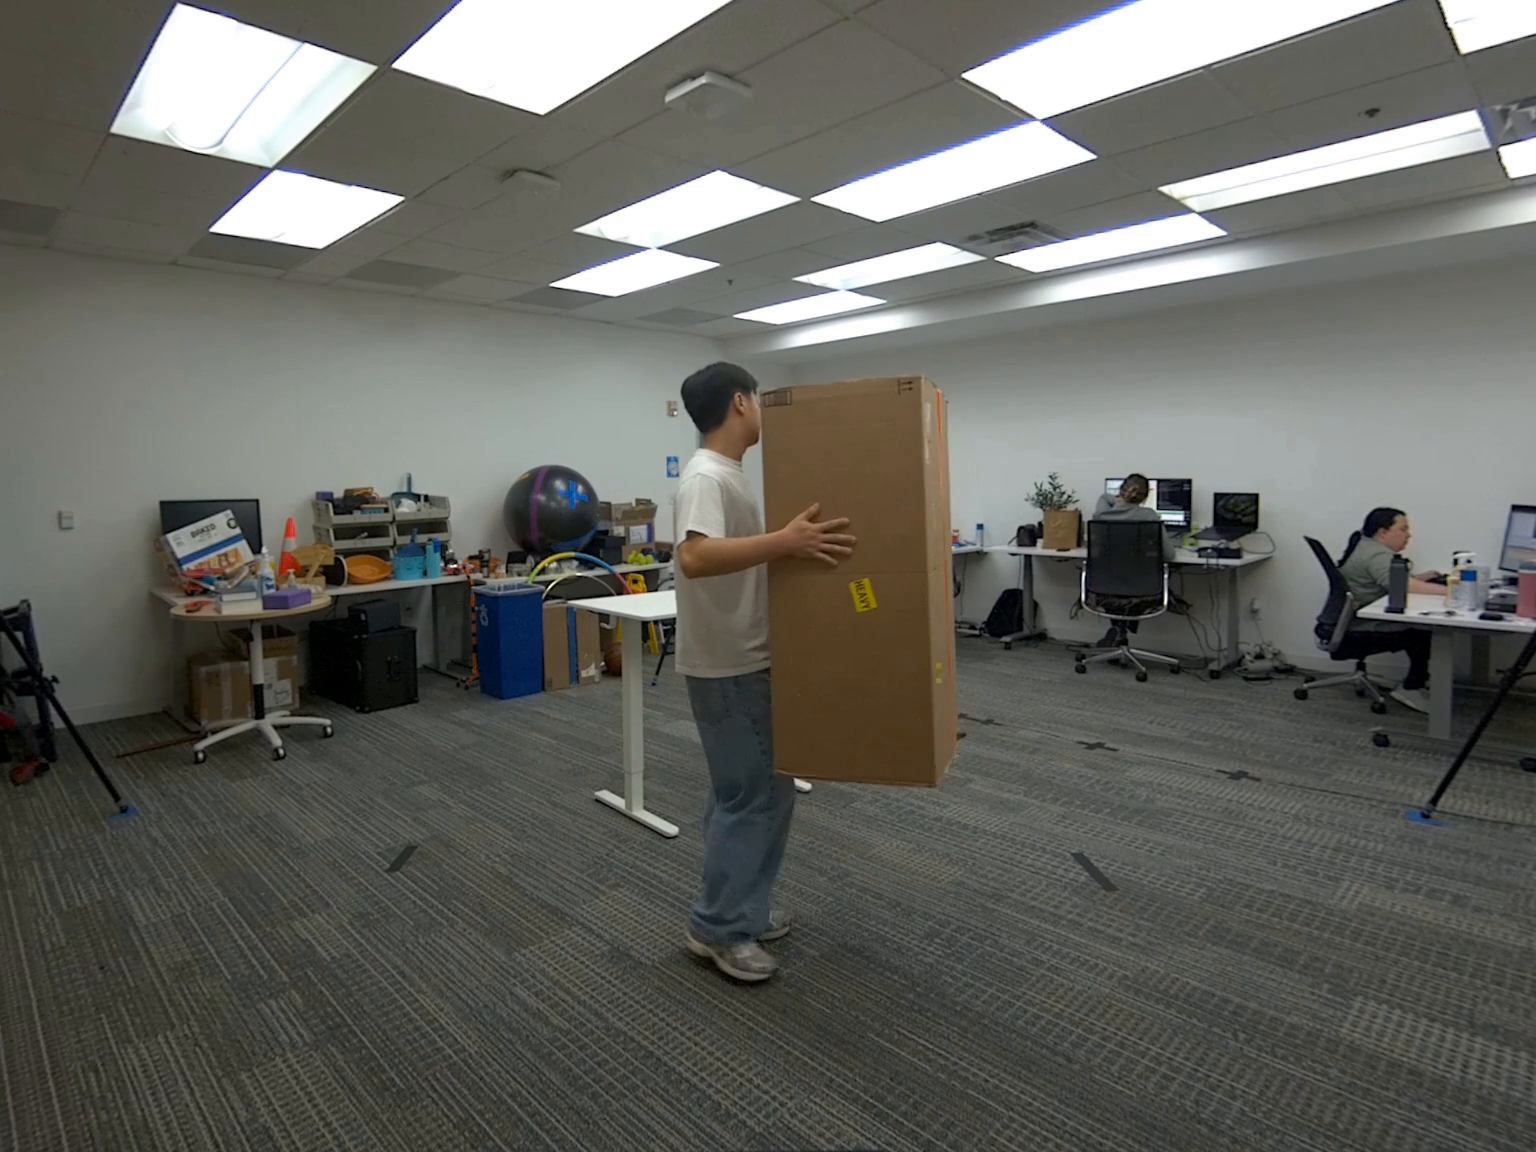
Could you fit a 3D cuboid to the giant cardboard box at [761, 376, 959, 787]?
[{"bbox_3d":[0.292,-0.001,2.437,0.434,1.025,0.568,-3,1,19],"label":"giant cardboard box"}]
